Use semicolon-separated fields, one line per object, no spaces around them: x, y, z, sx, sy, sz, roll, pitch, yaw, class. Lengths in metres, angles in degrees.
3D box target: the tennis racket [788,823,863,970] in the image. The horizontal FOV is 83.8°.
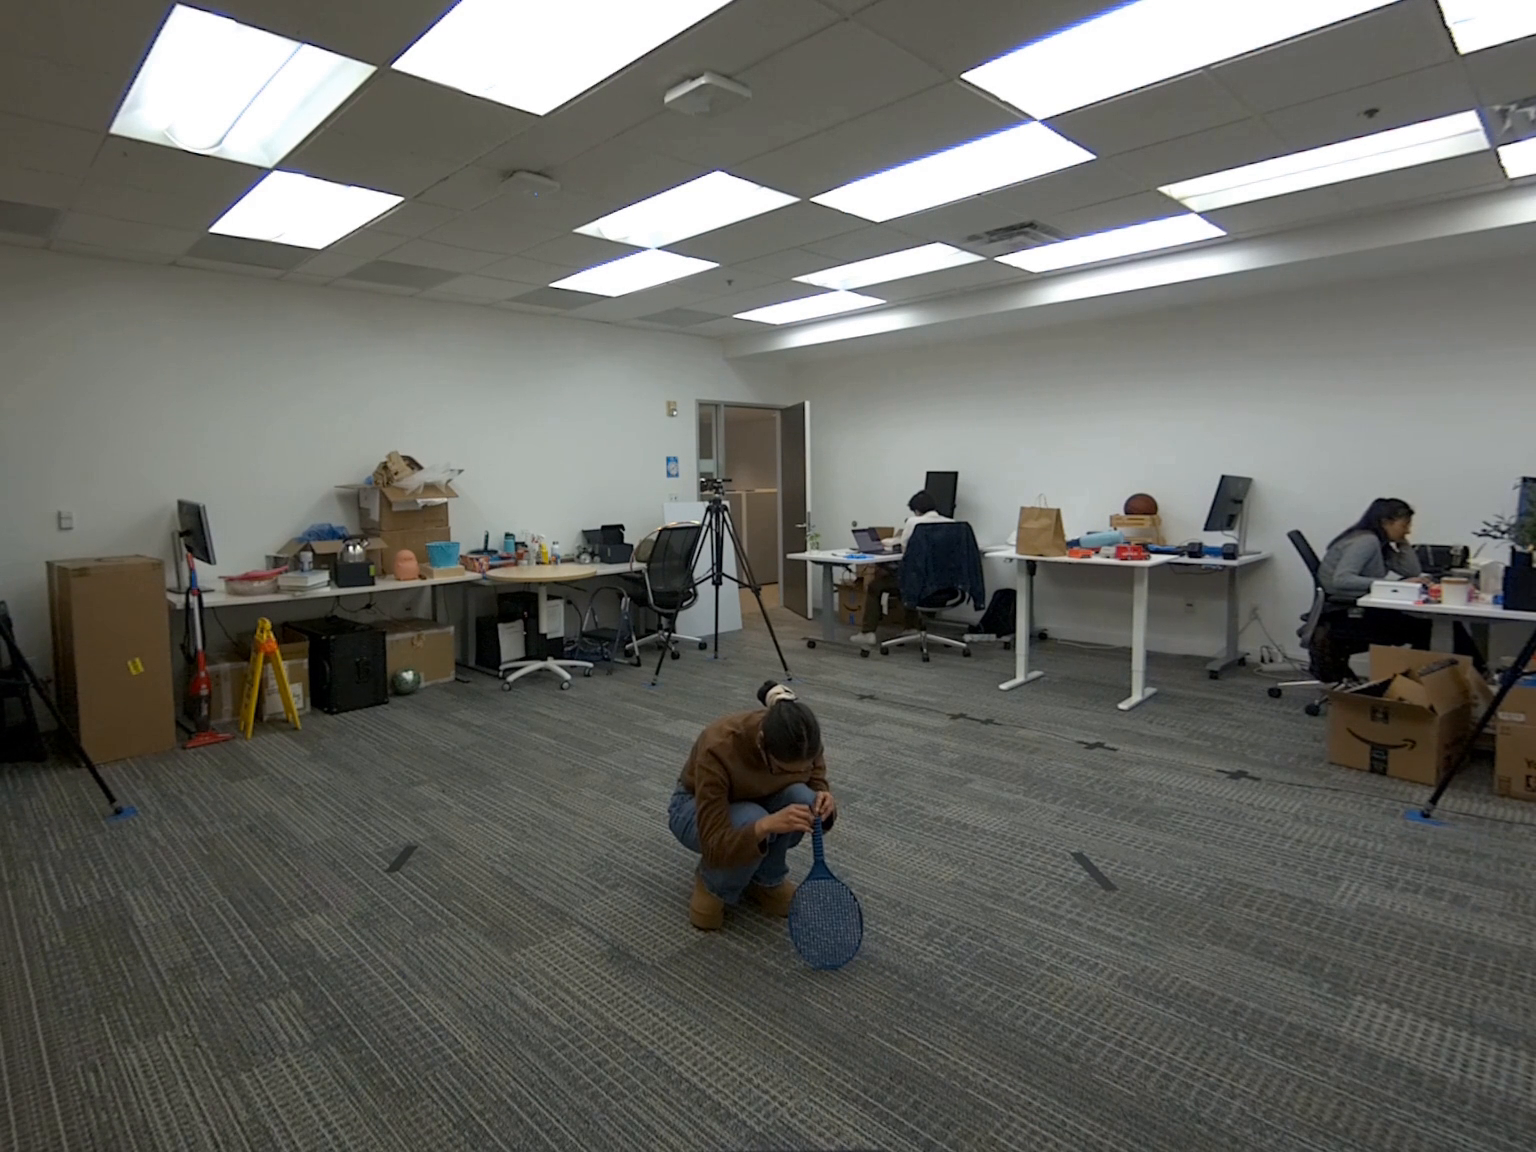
0.146;0.907;2.438;0.214;0.434;0.031;-10;-2;4;tennis racket
